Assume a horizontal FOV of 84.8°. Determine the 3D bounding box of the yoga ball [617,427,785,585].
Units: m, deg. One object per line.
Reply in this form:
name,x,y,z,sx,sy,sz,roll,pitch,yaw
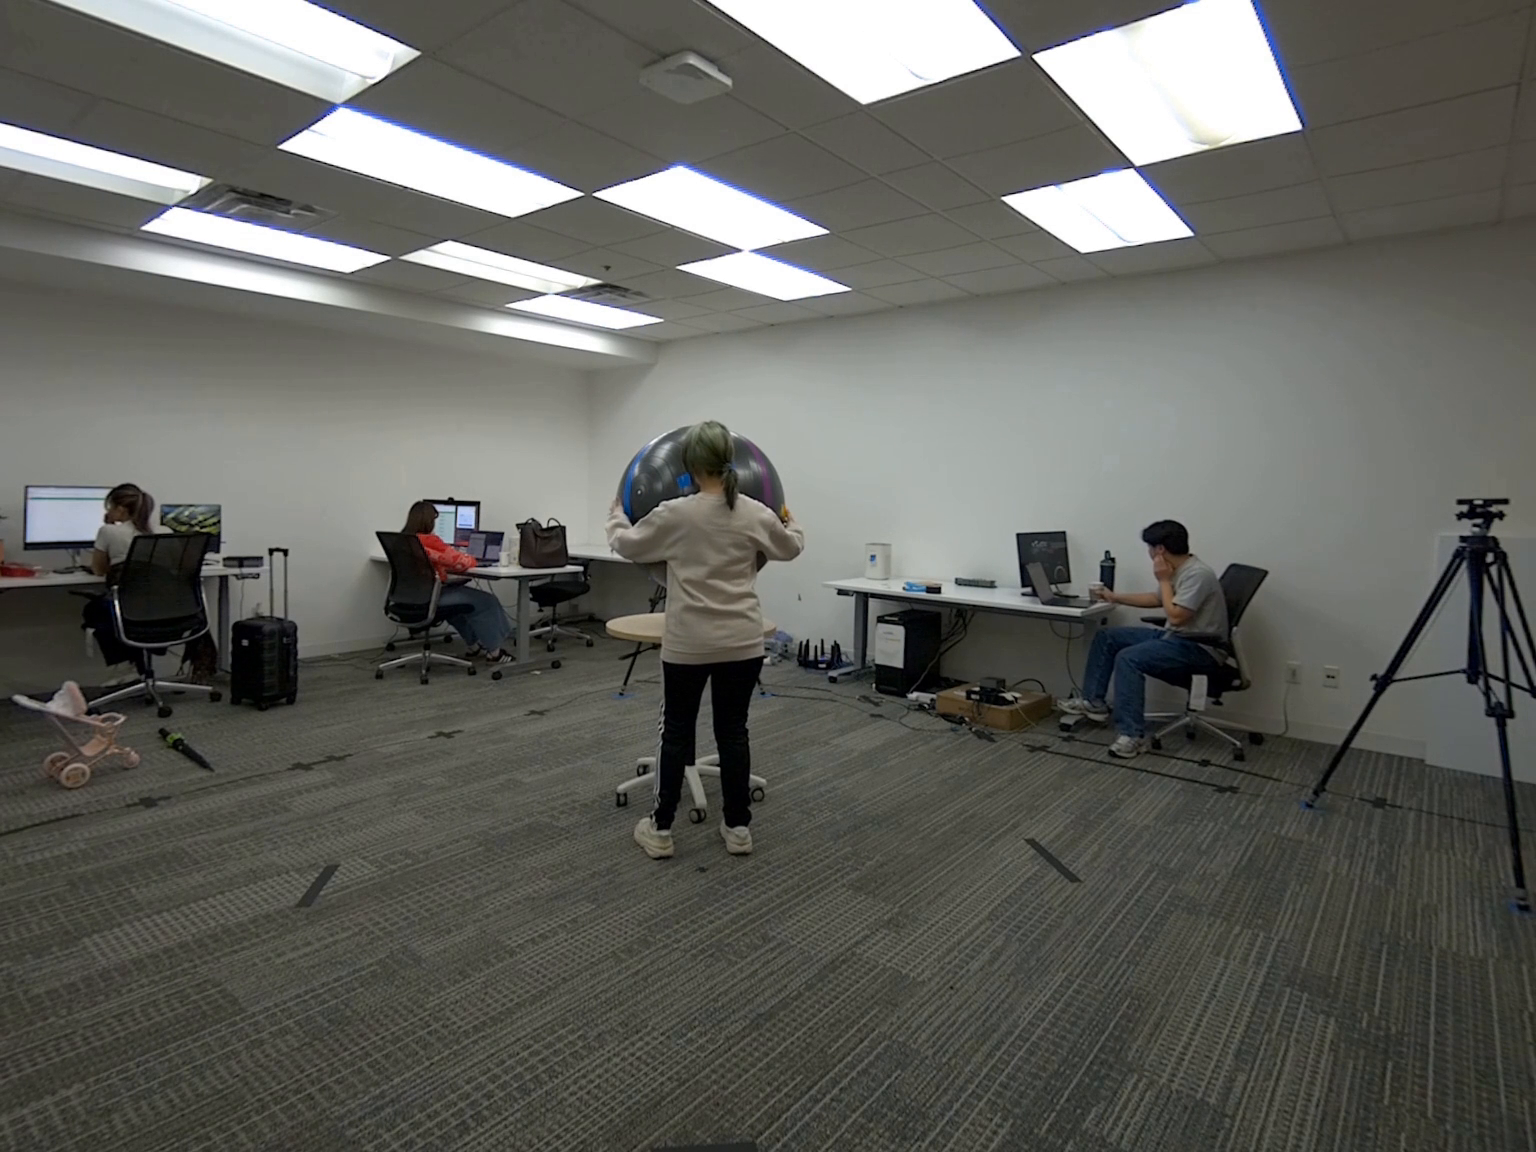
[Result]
yoga ball,-0.309,-0.294,3.804,0.757,0.756,0.761,1,4,-2
